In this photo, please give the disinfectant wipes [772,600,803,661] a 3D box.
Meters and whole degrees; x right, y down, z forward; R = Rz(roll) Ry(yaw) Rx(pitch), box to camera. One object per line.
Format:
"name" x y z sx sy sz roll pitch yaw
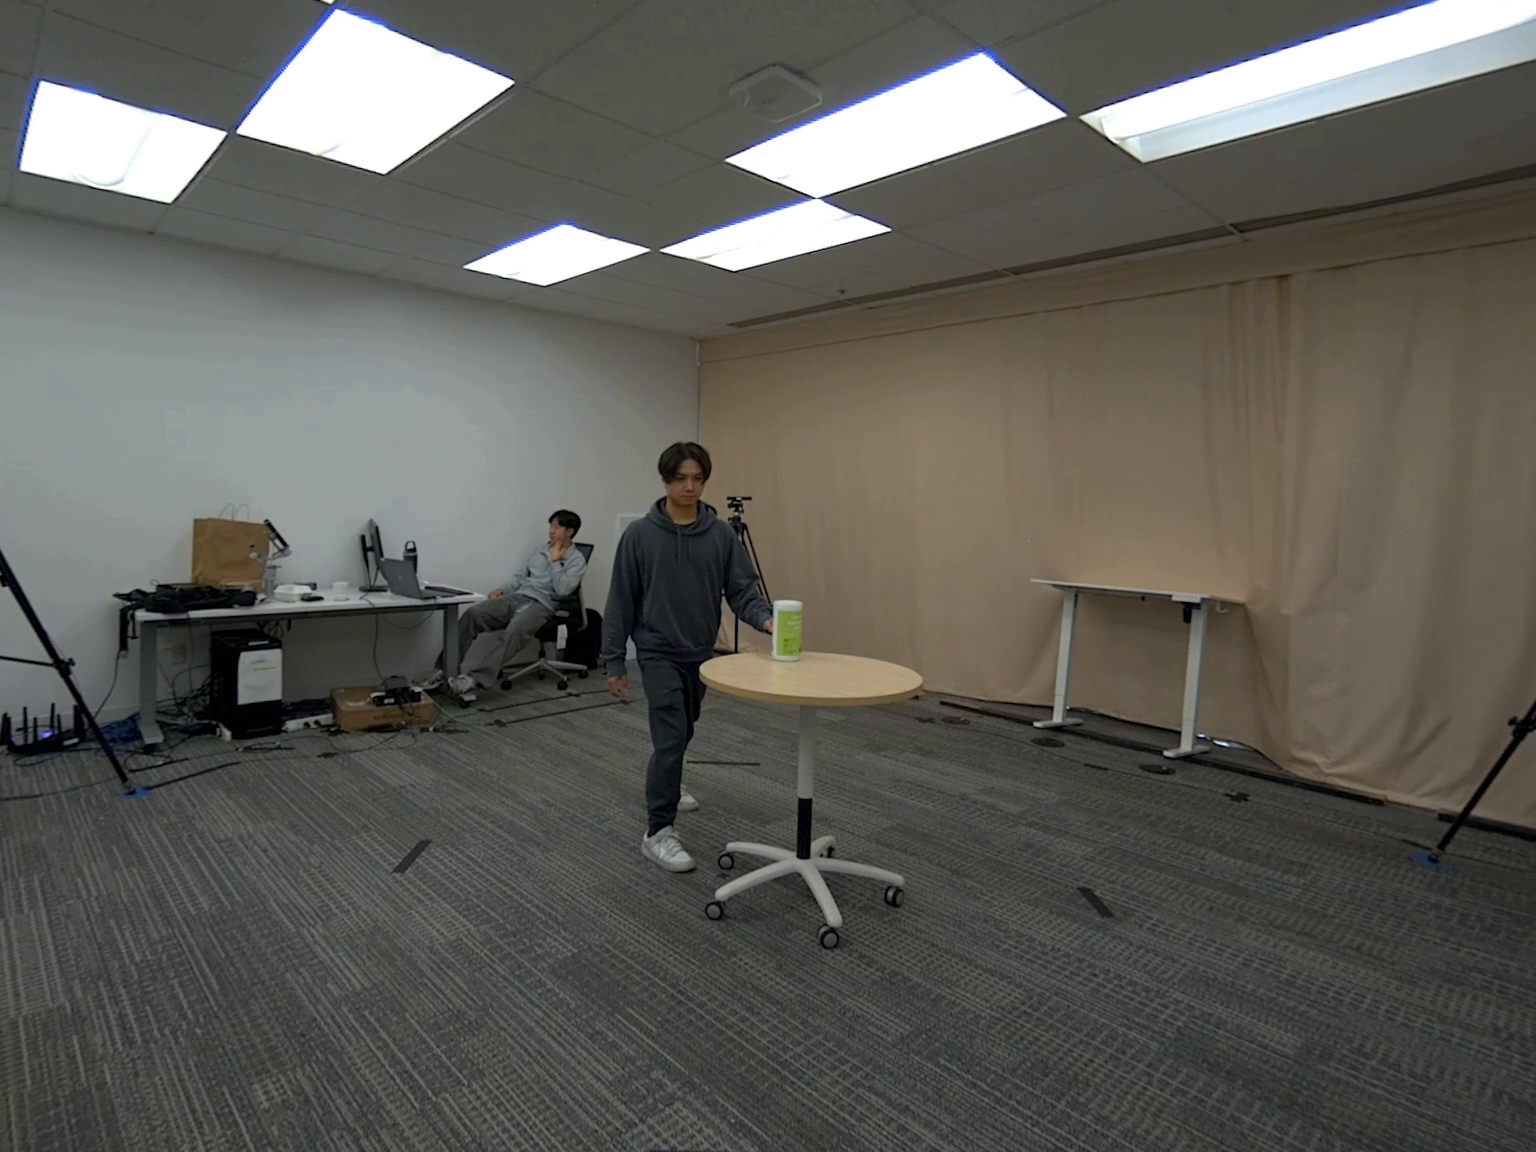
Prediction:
"disinfectant wipes" 0.064 0.203 3.128 0.118 0.217 0.118 2 4 -2
